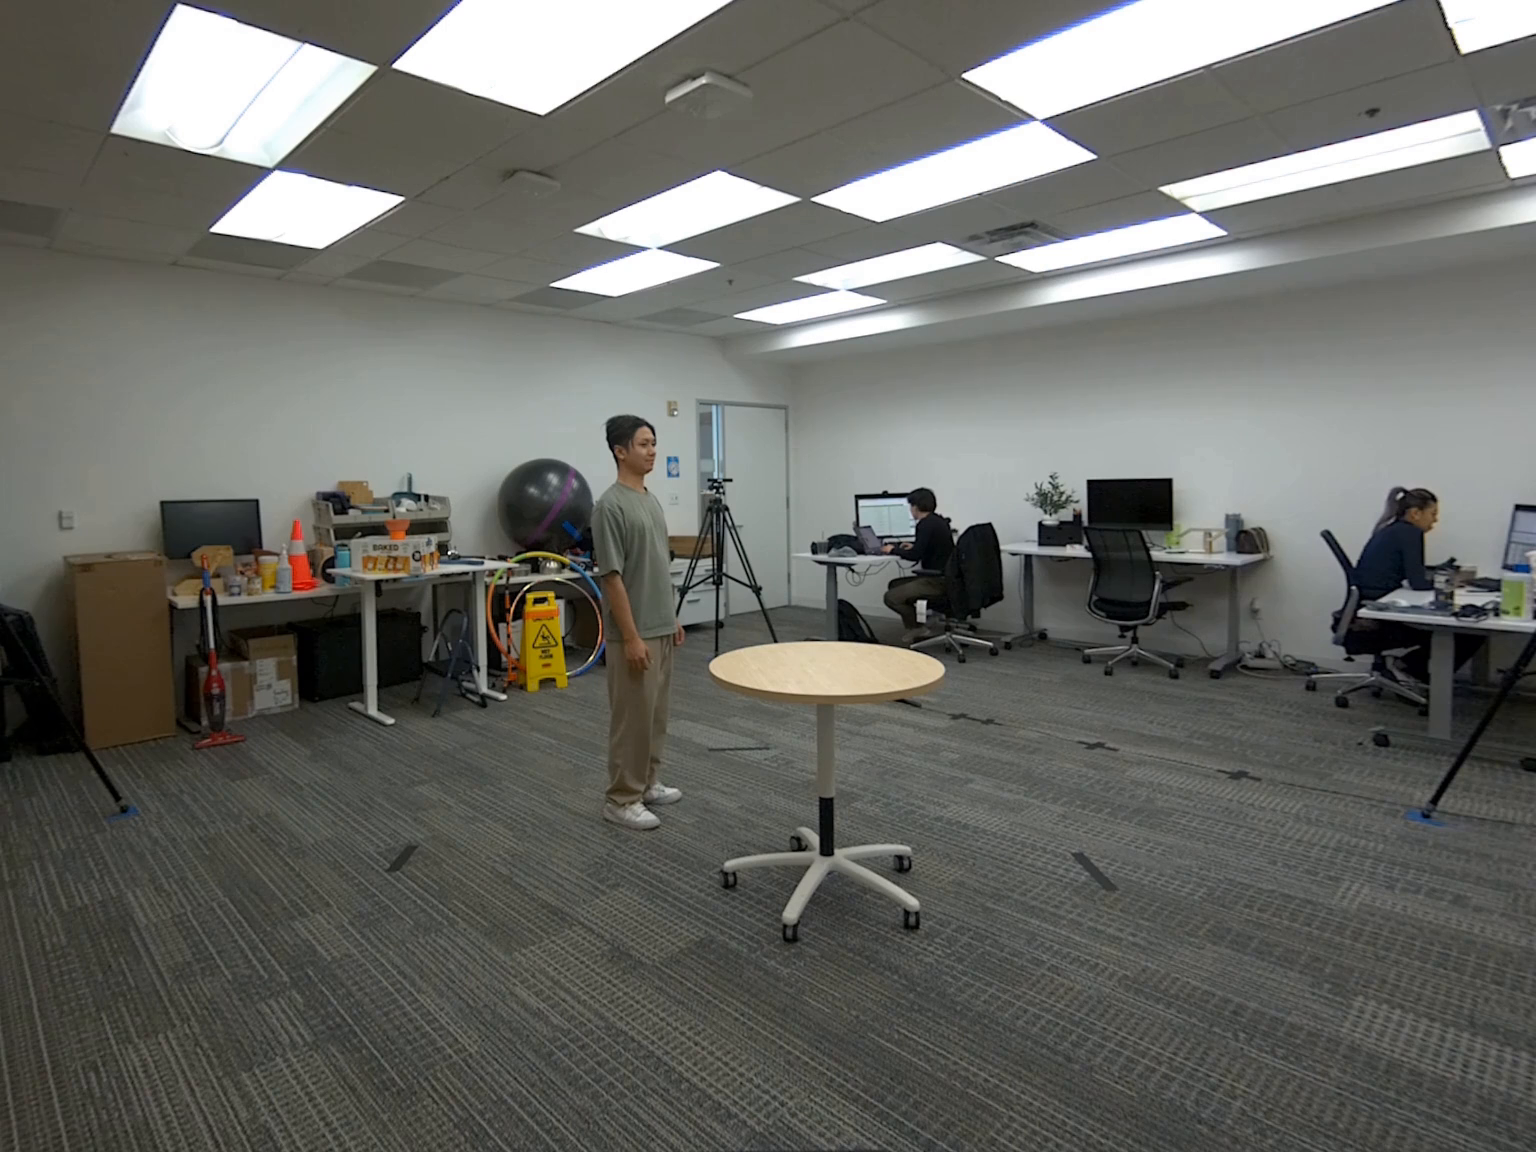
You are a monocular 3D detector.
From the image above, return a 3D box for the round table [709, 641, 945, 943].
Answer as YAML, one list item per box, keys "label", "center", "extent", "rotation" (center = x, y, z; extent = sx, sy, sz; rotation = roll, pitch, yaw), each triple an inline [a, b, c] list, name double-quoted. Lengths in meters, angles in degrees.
- label: "round table"
  center: [0.187, 0.678, 2.835]
  extent: [0.784, 0.783, 0.789]
  rotation: [-1, 5, -2]
